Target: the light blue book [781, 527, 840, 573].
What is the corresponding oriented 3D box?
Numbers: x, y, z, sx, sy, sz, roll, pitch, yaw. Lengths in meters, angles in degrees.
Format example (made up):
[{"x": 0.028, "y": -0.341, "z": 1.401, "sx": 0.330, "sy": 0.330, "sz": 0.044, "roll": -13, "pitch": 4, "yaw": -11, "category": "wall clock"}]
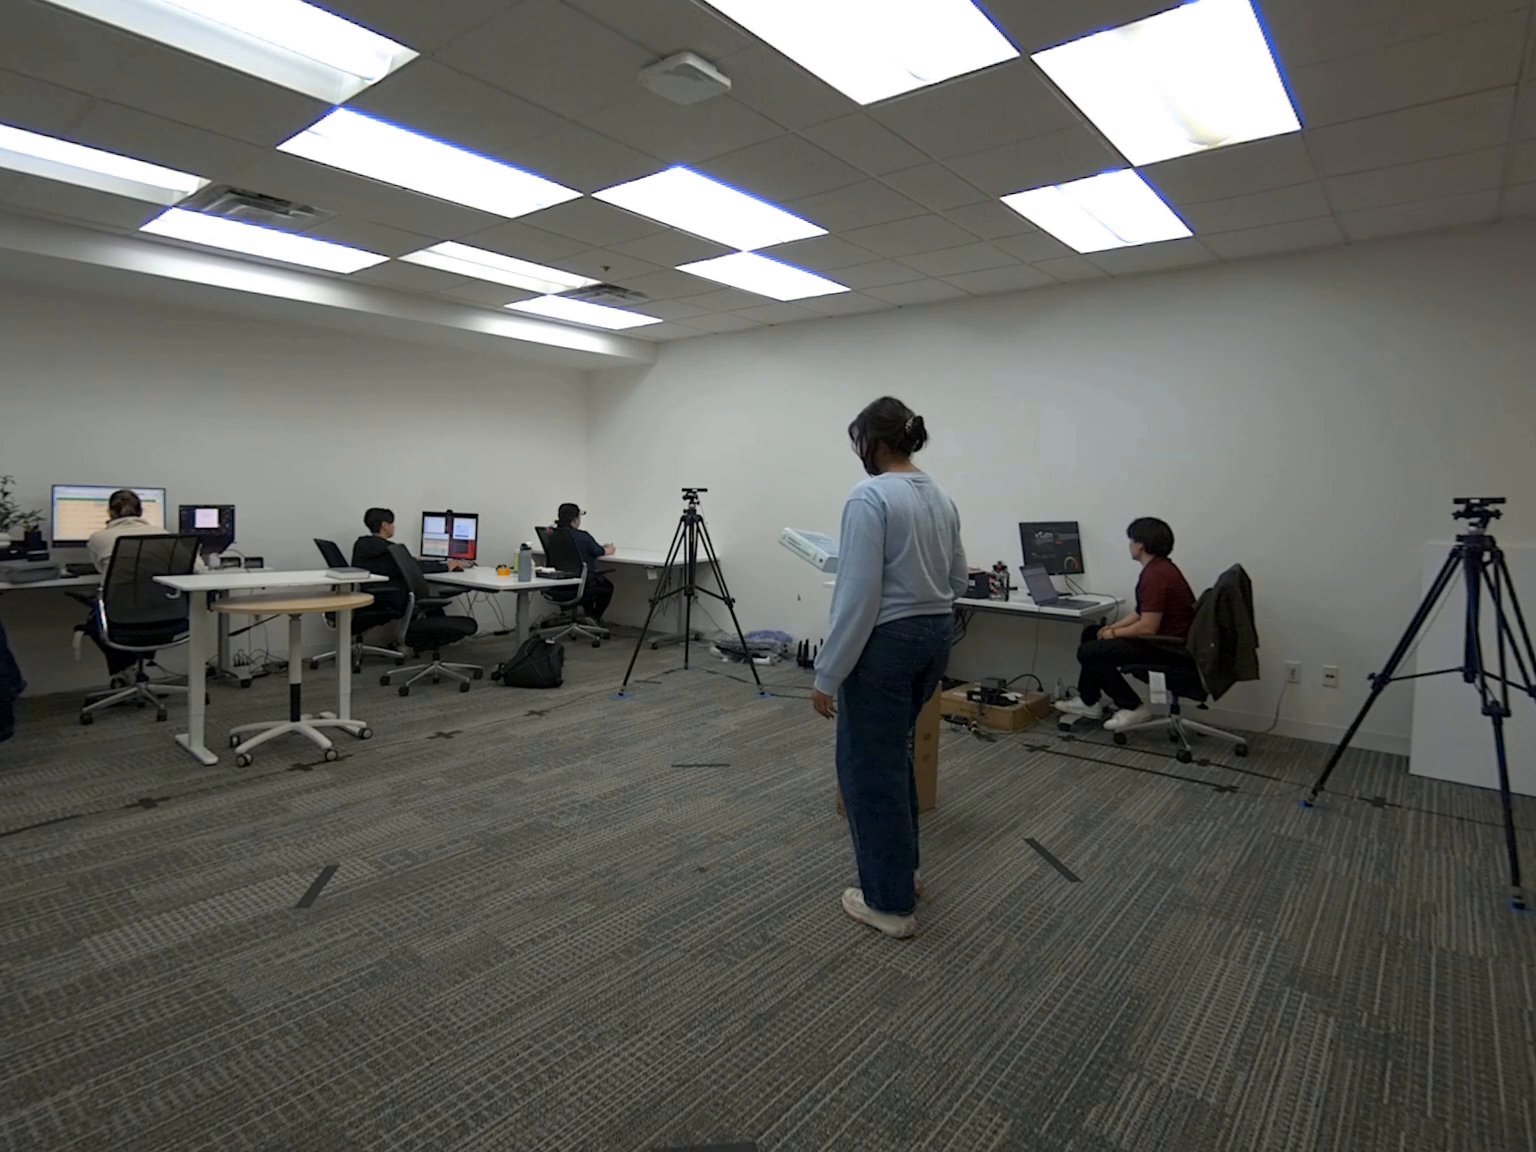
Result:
[{"x": 0.202, "y": -0.089, "z": 2.984, "sx": 0.185, "sy": 0.058, "sz": 0.272, "roll": 7, "pitch": 18, "yaw": -39, "category": "light blue book"}]
